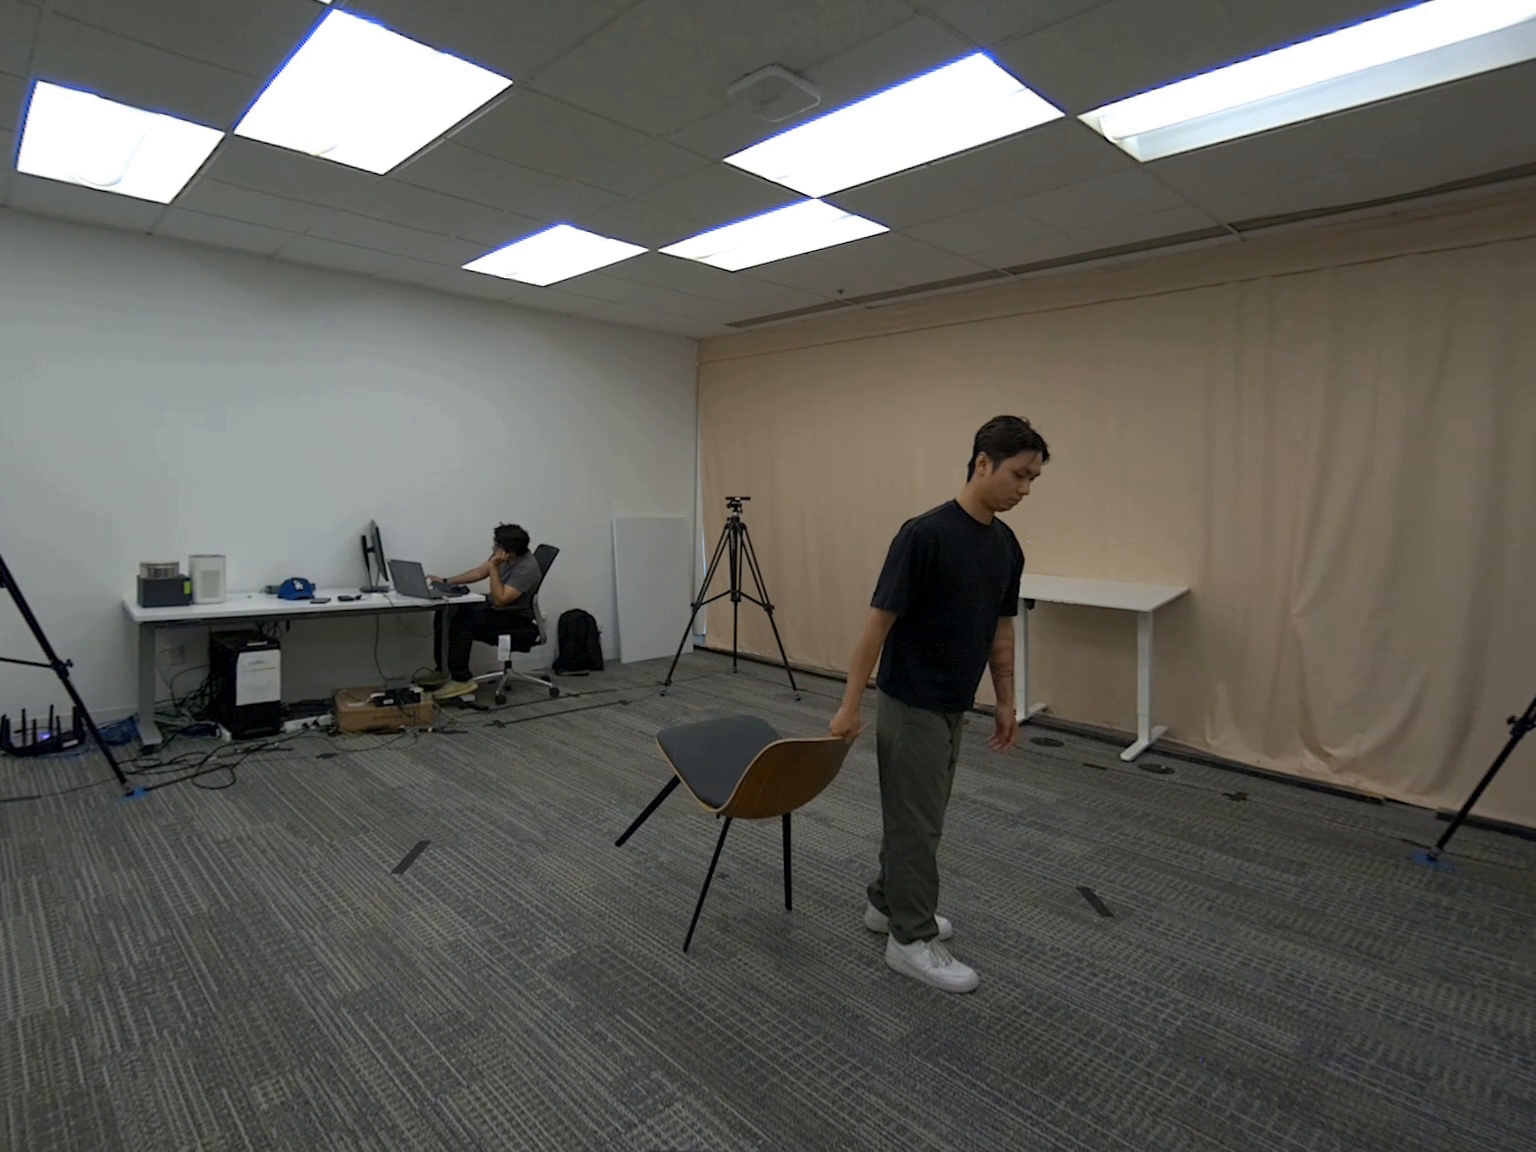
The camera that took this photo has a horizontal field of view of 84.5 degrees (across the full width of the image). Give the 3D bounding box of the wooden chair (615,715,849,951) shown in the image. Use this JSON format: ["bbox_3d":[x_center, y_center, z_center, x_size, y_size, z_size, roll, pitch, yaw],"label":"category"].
[{"bbox_3d":[-0.096,0.653,2.694,0.467,0.869,0.540,-2,36,-40],"label":"wooden chair"}]
